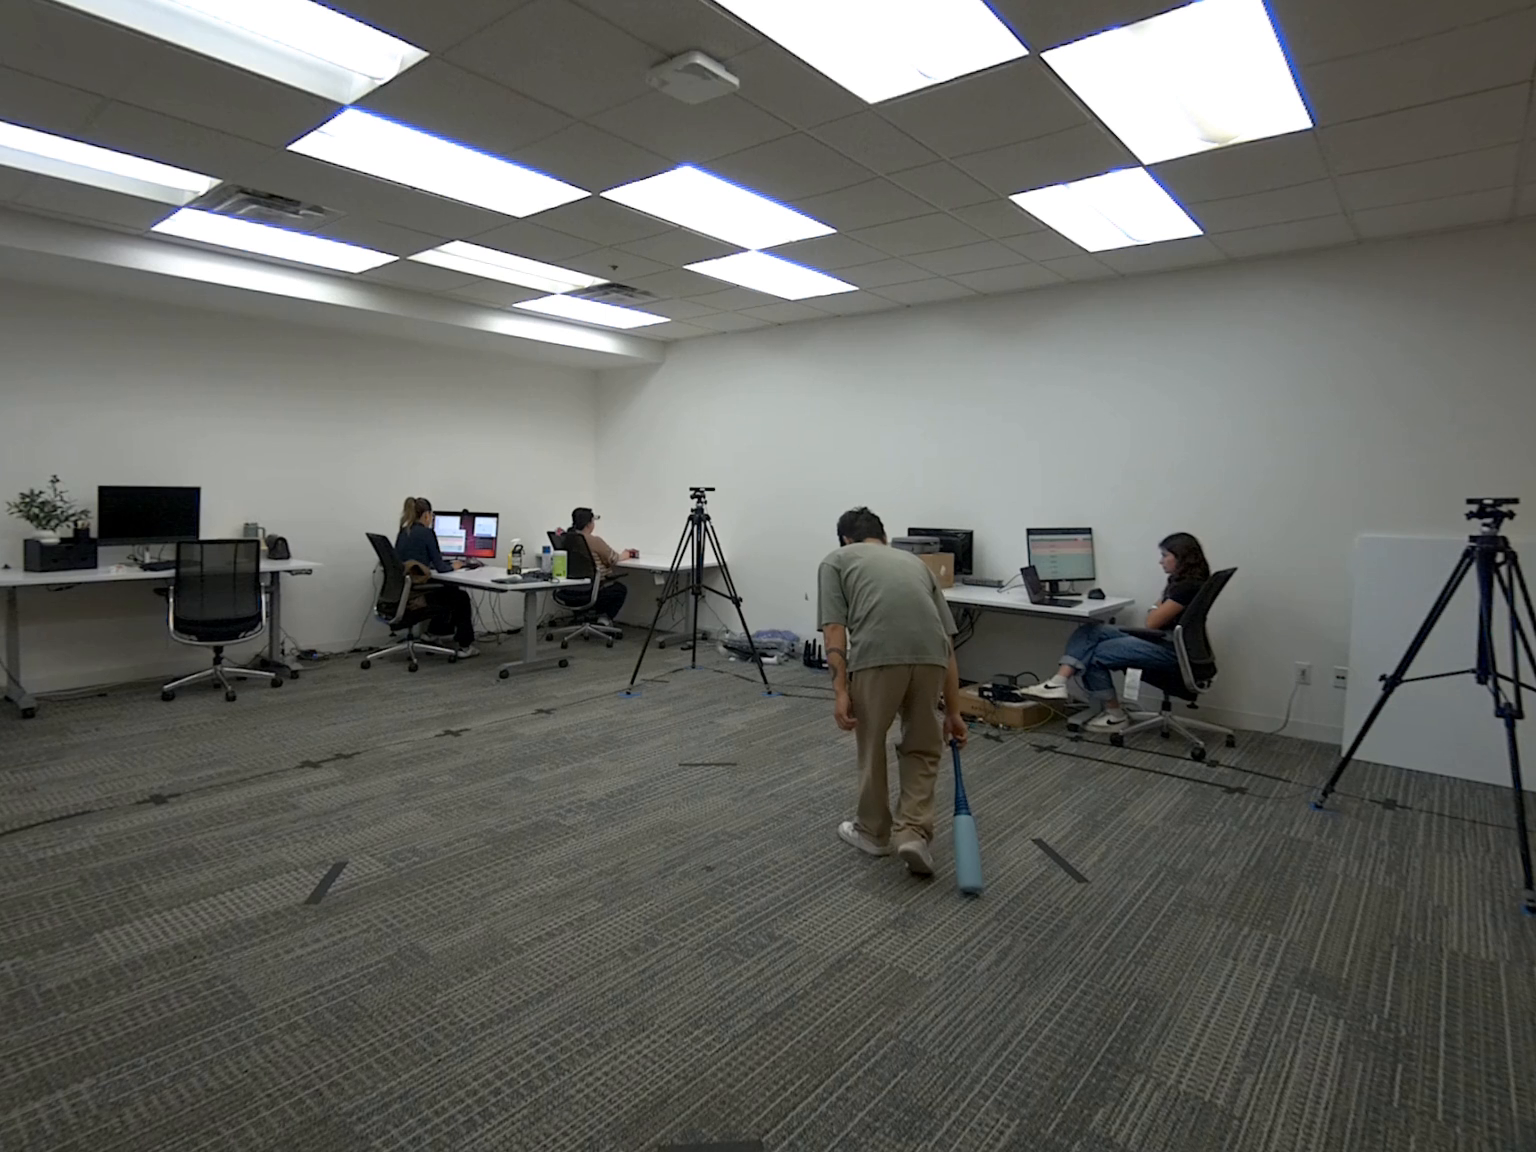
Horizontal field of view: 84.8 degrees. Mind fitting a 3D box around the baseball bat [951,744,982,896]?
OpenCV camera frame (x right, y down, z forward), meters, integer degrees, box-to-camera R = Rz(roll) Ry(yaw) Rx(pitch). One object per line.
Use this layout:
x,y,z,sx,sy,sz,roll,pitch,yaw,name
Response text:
0.706,0.862,3.086,0.089,0.556,0.087,3,-32,0,baseball bat
